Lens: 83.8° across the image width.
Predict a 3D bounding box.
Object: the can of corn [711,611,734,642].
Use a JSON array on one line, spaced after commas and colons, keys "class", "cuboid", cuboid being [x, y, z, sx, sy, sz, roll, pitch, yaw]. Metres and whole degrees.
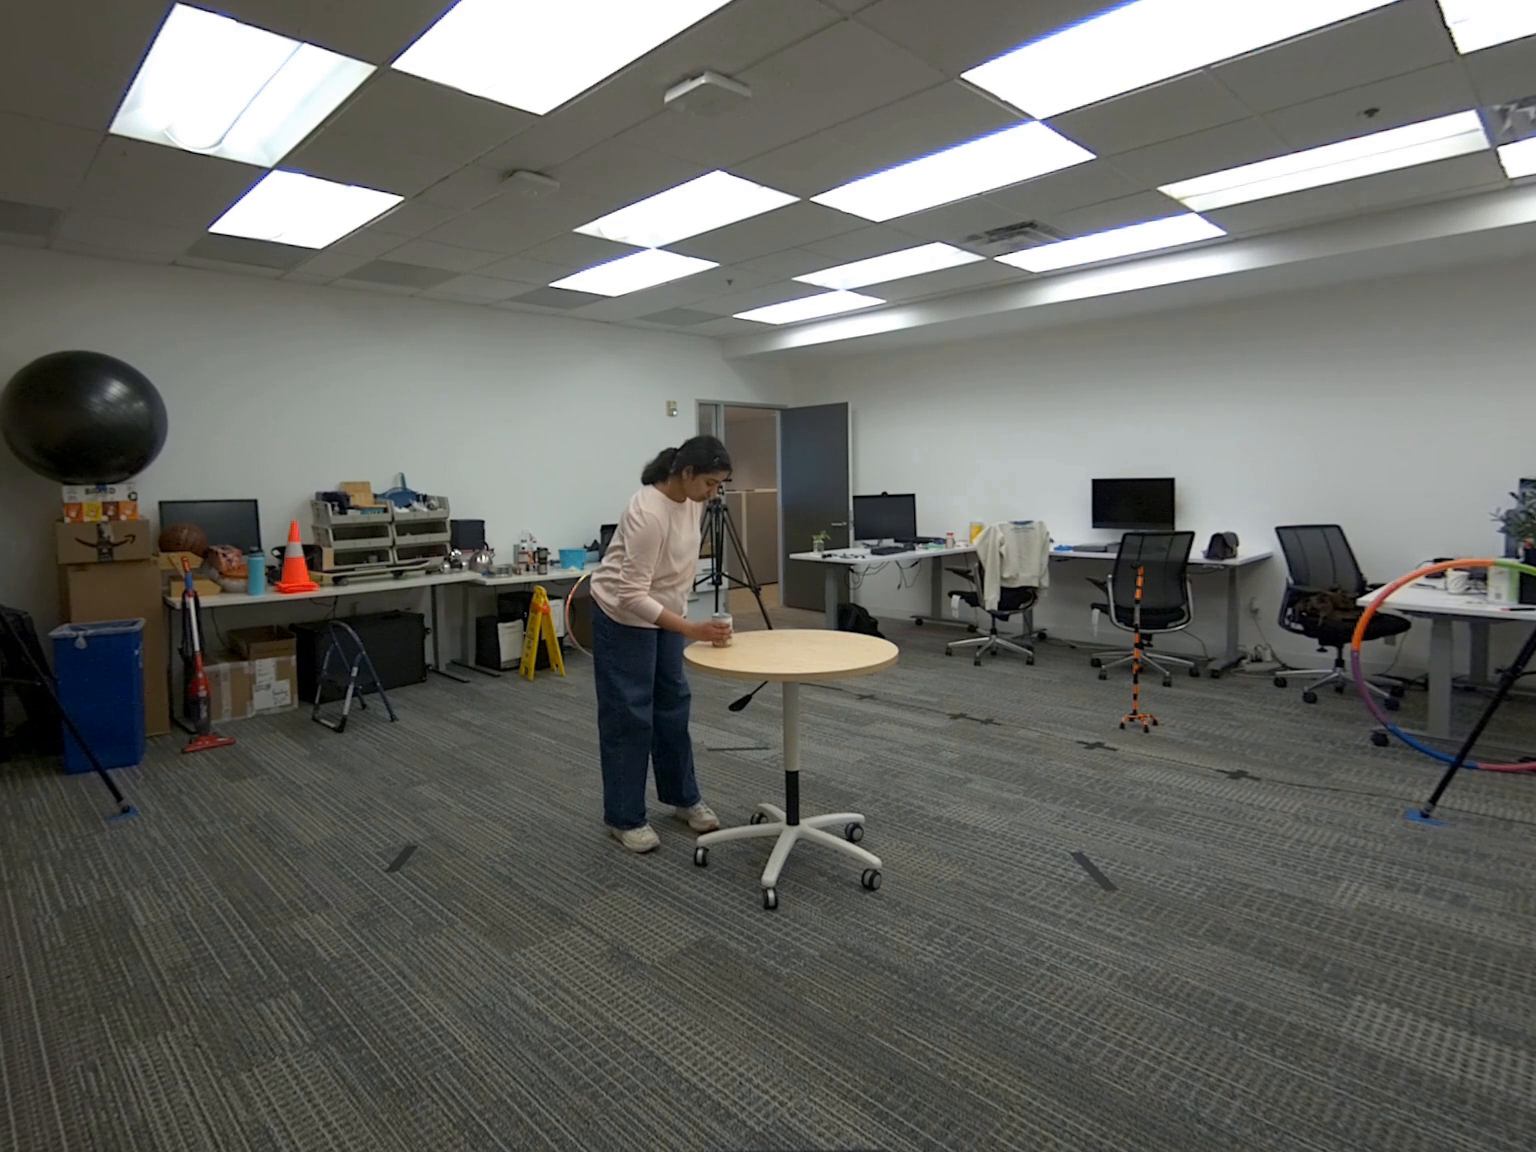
[{"class": "can of corn", "cuboid": [-0.167, 0.196, 3.150, 0.074, 0.110, 0.075, -3, 7, -1]}]
